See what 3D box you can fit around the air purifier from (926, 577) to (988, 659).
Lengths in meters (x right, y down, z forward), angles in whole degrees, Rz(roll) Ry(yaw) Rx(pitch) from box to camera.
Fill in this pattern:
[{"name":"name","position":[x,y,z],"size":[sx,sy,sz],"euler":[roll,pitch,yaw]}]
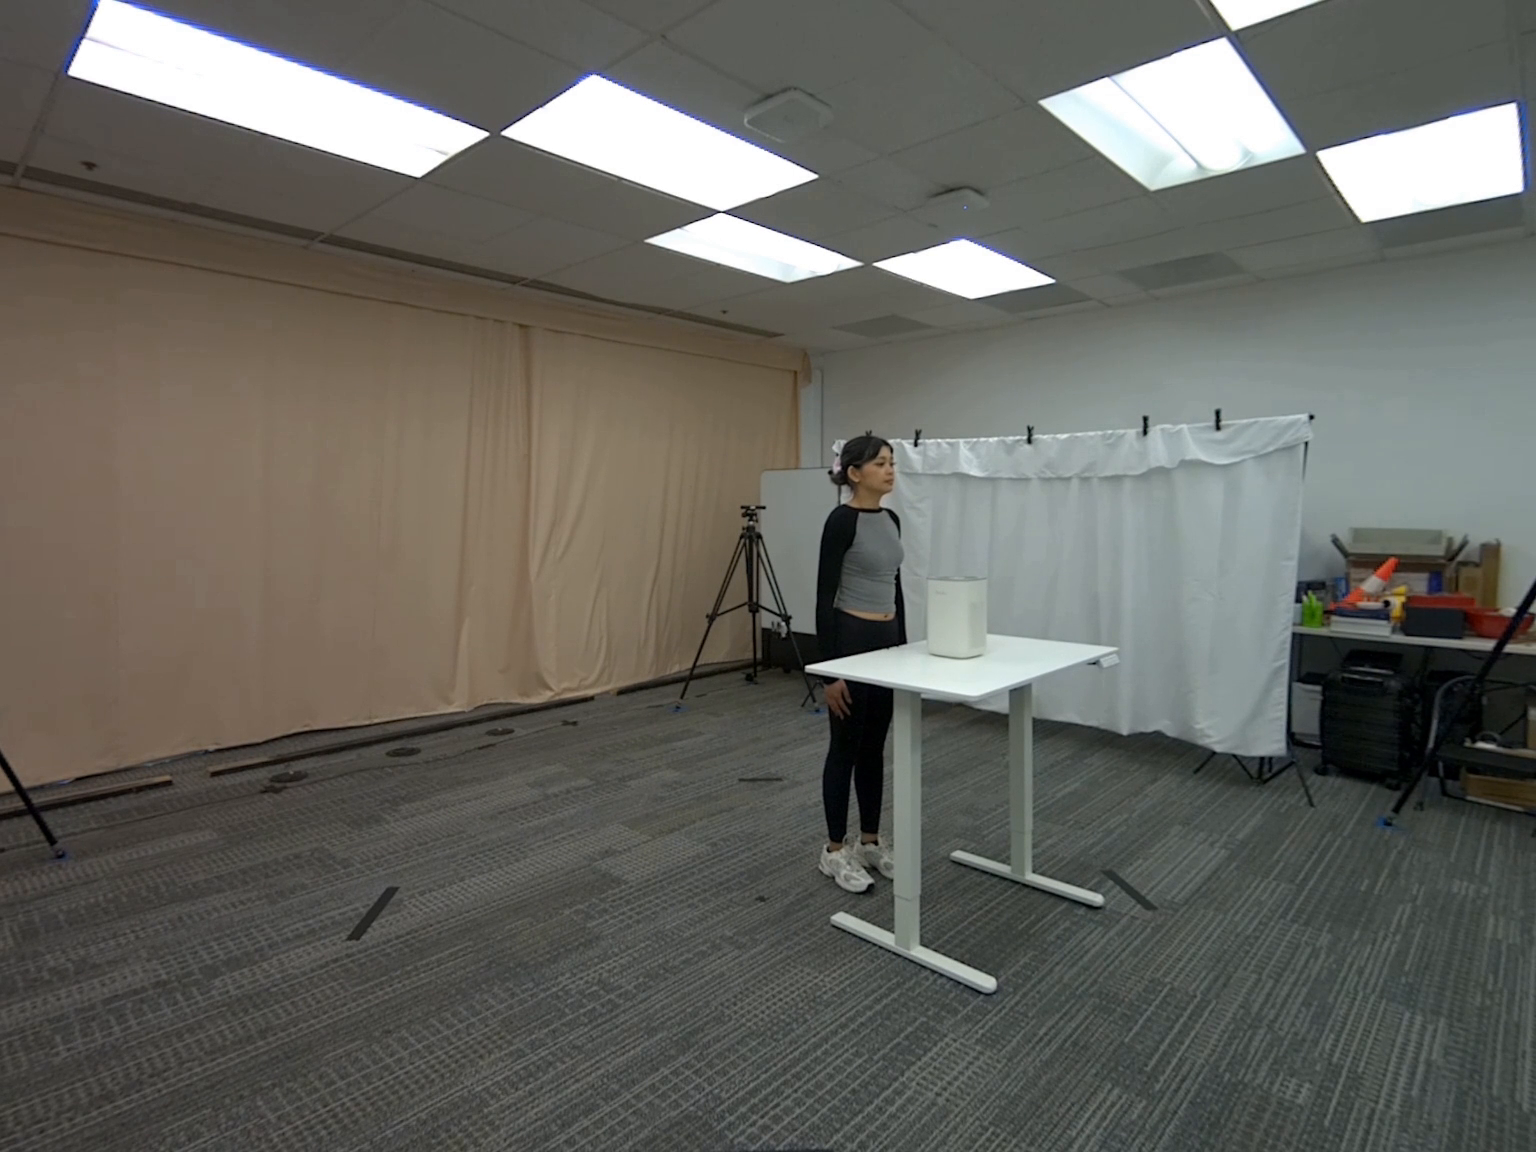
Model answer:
[{"name":"air purifier","position":[0.641,0.134,2.866],"size":[0.166,0.265,0.177],"euler":[-5,4,-42]}]
